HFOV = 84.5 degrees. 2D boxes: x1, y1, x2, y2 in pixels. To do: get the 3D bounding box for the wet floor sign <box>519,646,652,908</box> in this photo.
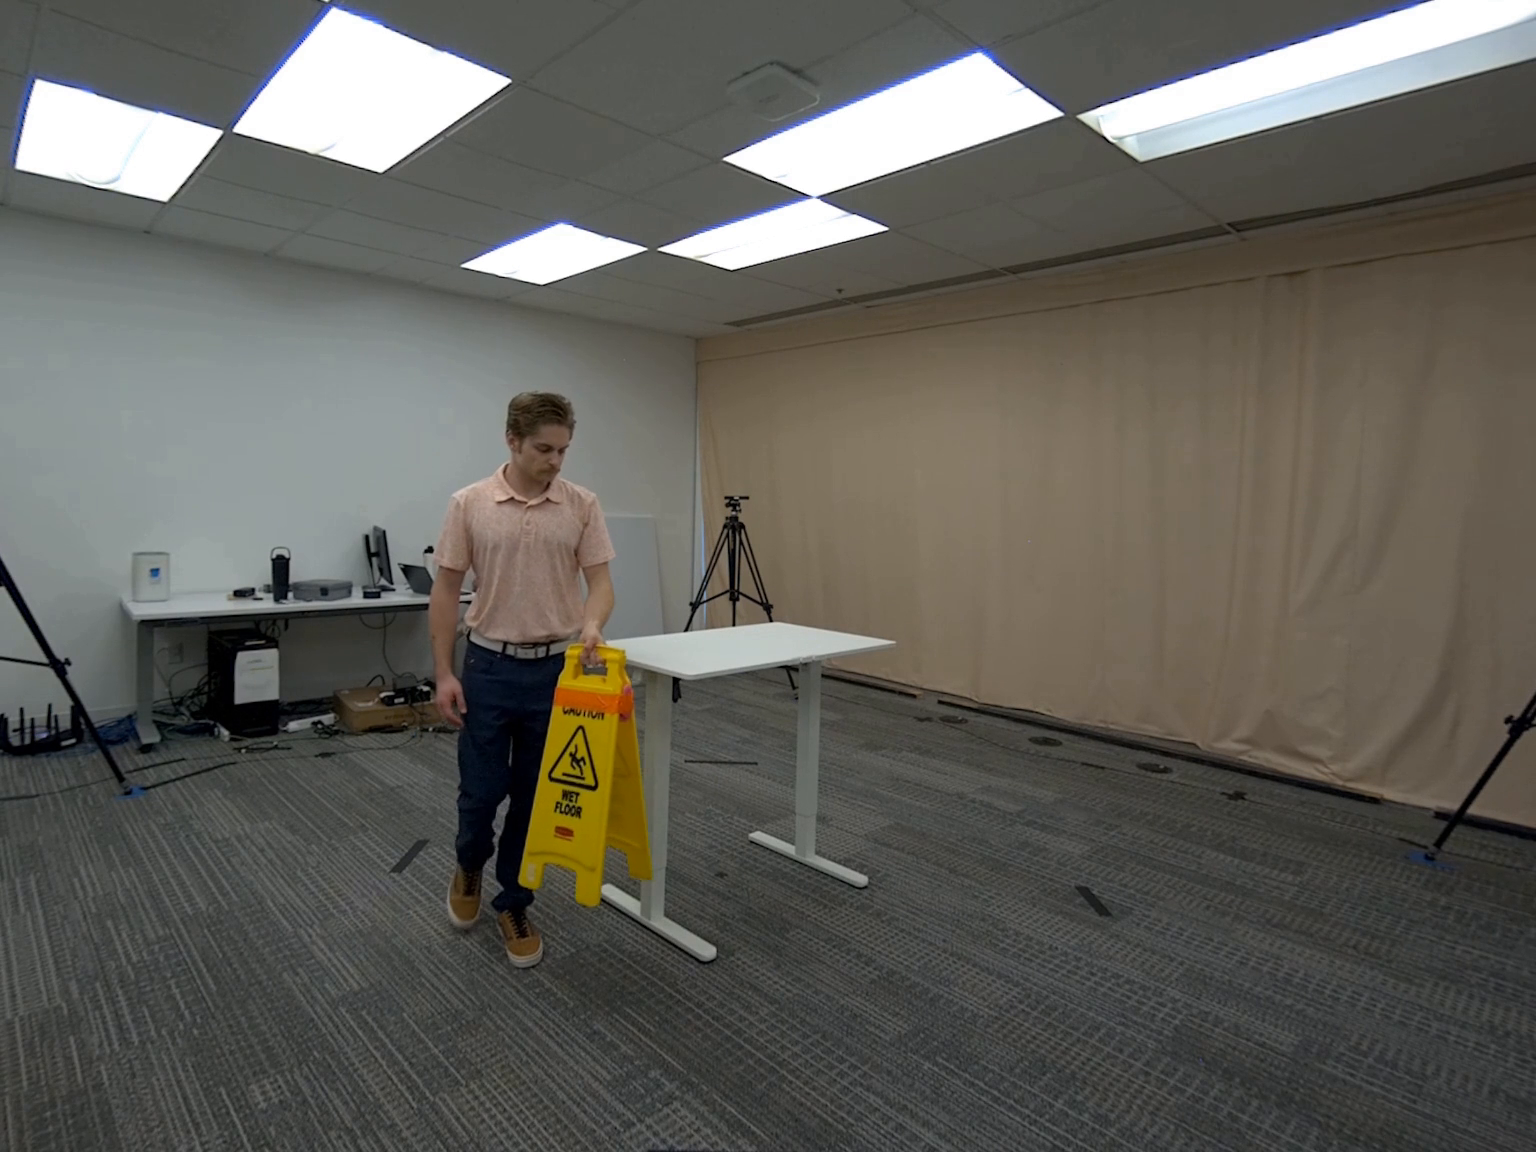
[{"bbox_3d":[-0.495,0.529,2.315,0.288,0.647,0.283,-1,-3,28],"label":"wet floor sign"}]
